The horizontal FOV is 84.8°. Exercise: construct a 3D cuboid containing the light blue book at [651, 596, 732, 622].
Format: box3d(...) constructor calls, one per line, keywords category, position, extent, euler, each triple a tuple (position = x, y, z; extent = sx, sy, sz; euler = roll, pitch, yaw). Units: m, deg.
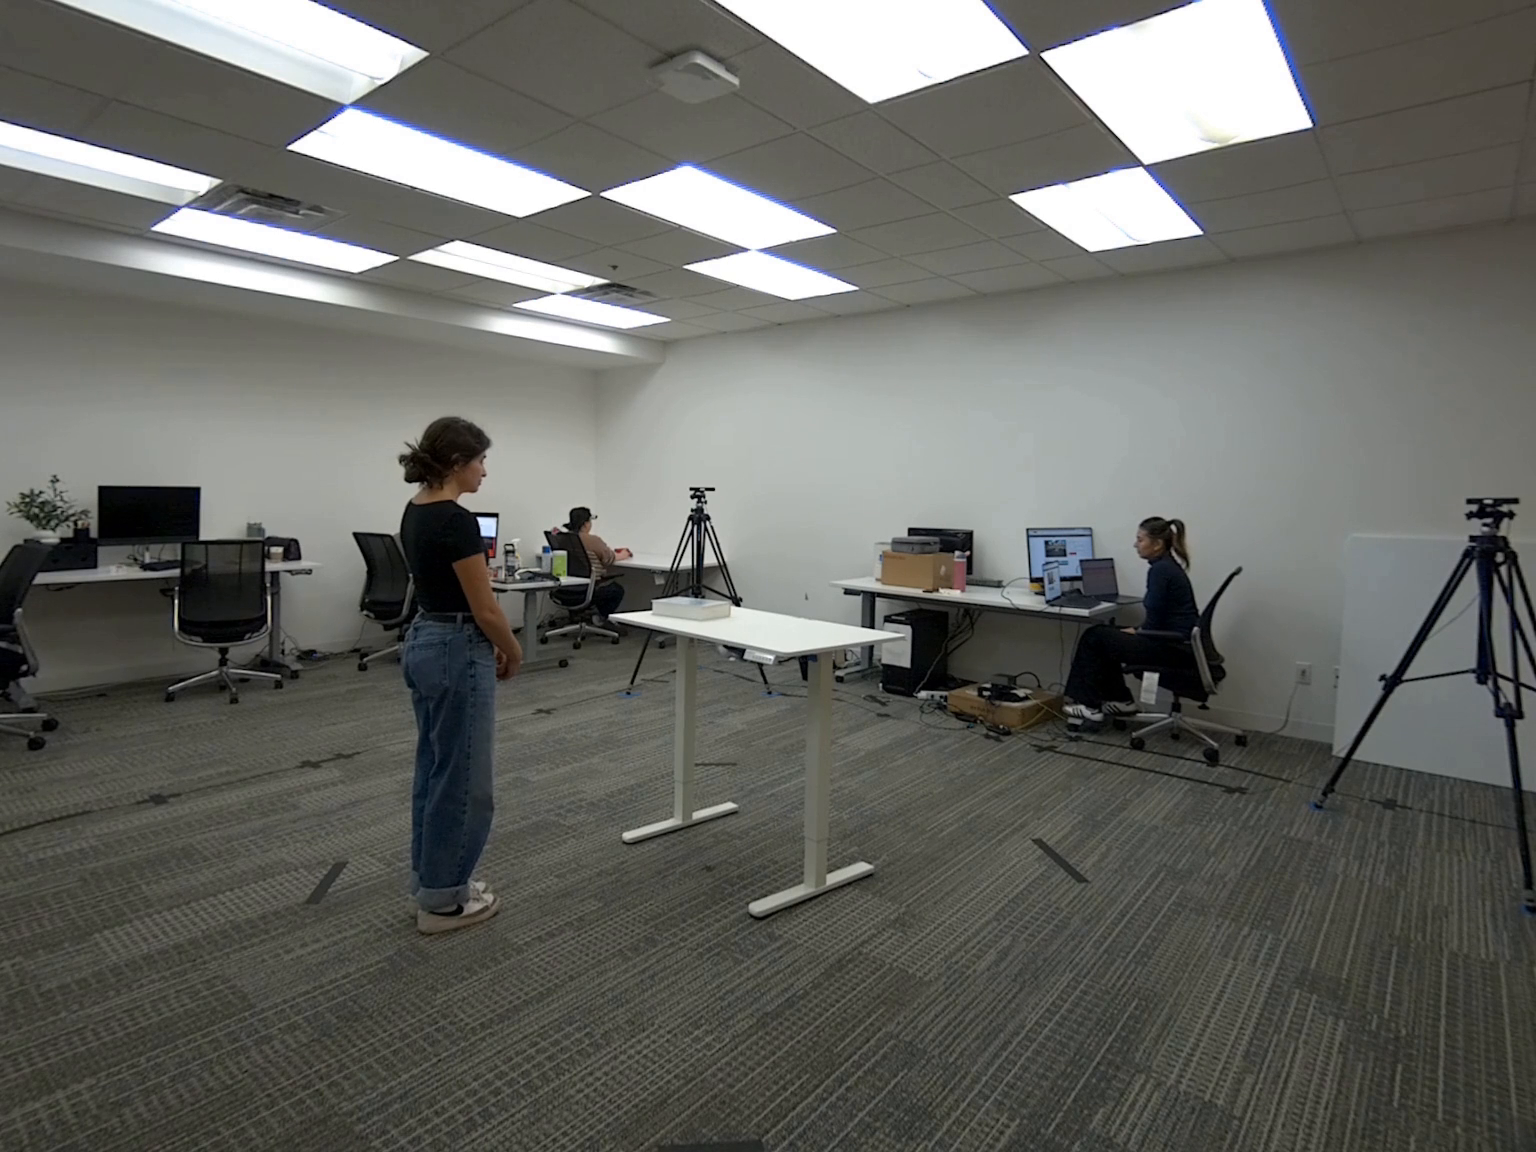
box3d(category="light blue book", position=(-0.317, 0.127, 3.407), extent=(0.269, 0.059, 0.186), euler=(4, 6, 35))
